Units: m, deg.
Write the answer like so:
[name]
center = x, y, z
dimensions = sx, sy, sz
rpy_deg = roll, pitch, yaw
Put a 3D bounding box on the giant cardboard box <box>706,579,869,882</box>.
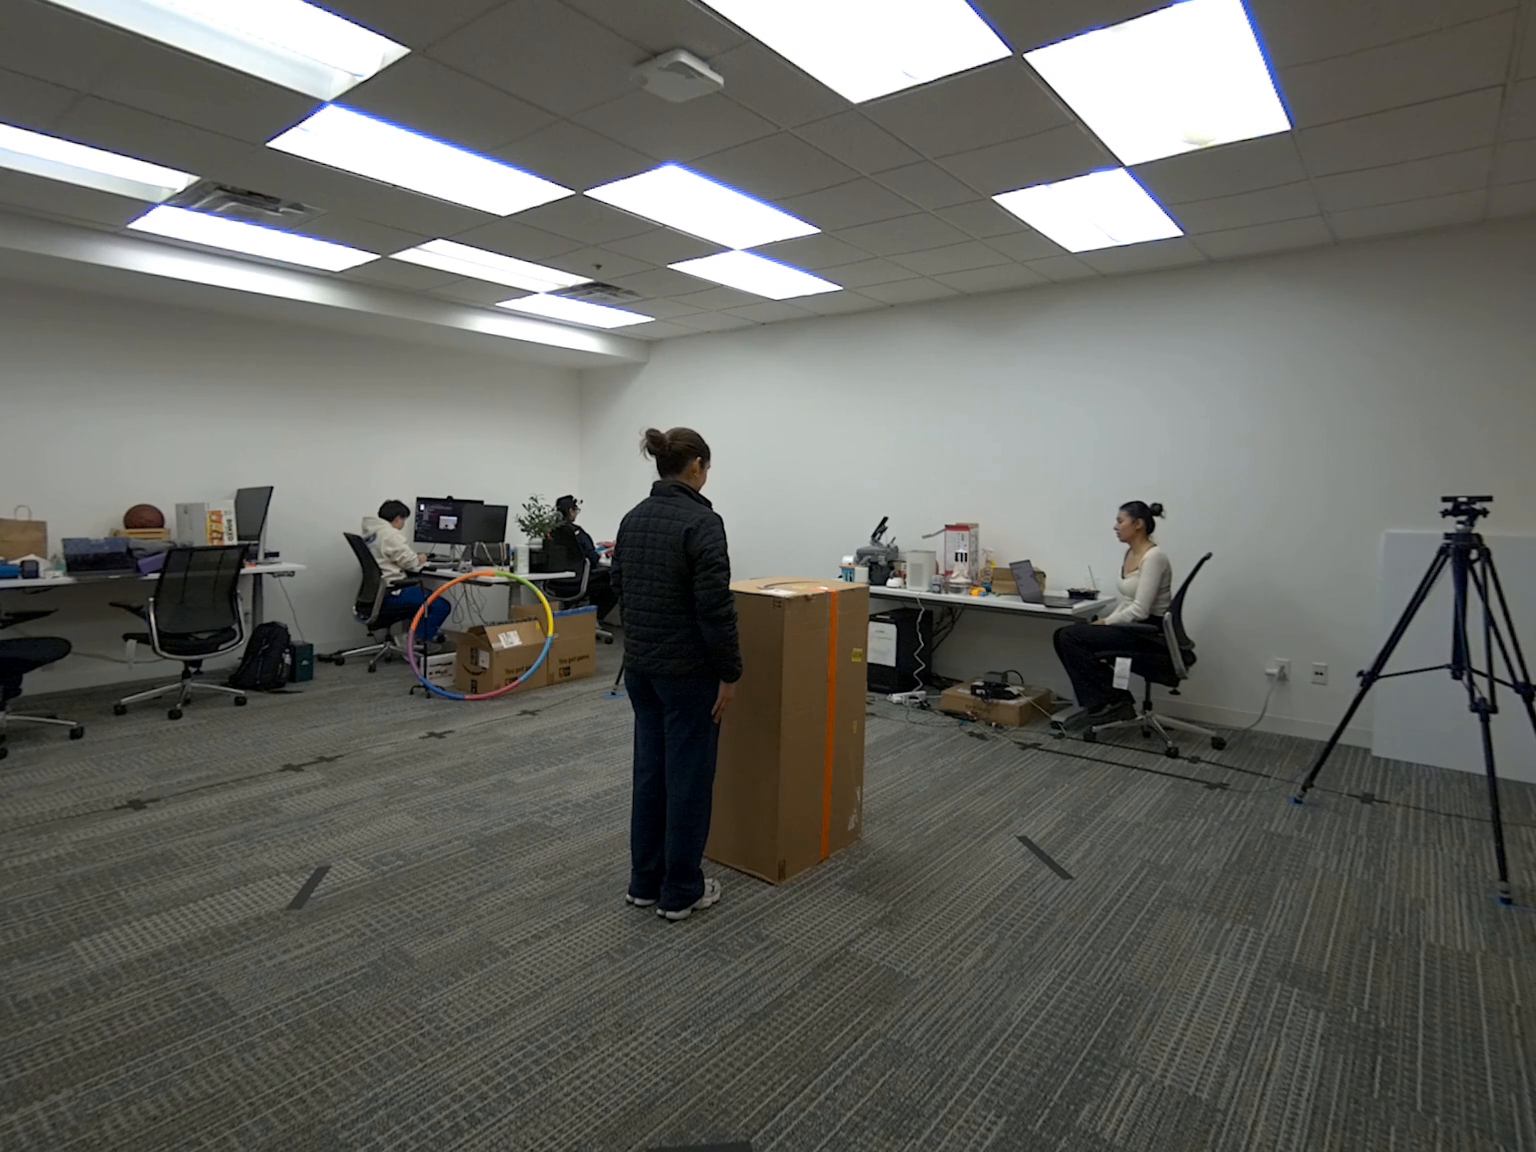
[giant cardboard box]
center = 0.072, 0.539, 3.313
dimensions = 0.462, 1.023, 0.566
rpy_deg = 5, 5, 40
